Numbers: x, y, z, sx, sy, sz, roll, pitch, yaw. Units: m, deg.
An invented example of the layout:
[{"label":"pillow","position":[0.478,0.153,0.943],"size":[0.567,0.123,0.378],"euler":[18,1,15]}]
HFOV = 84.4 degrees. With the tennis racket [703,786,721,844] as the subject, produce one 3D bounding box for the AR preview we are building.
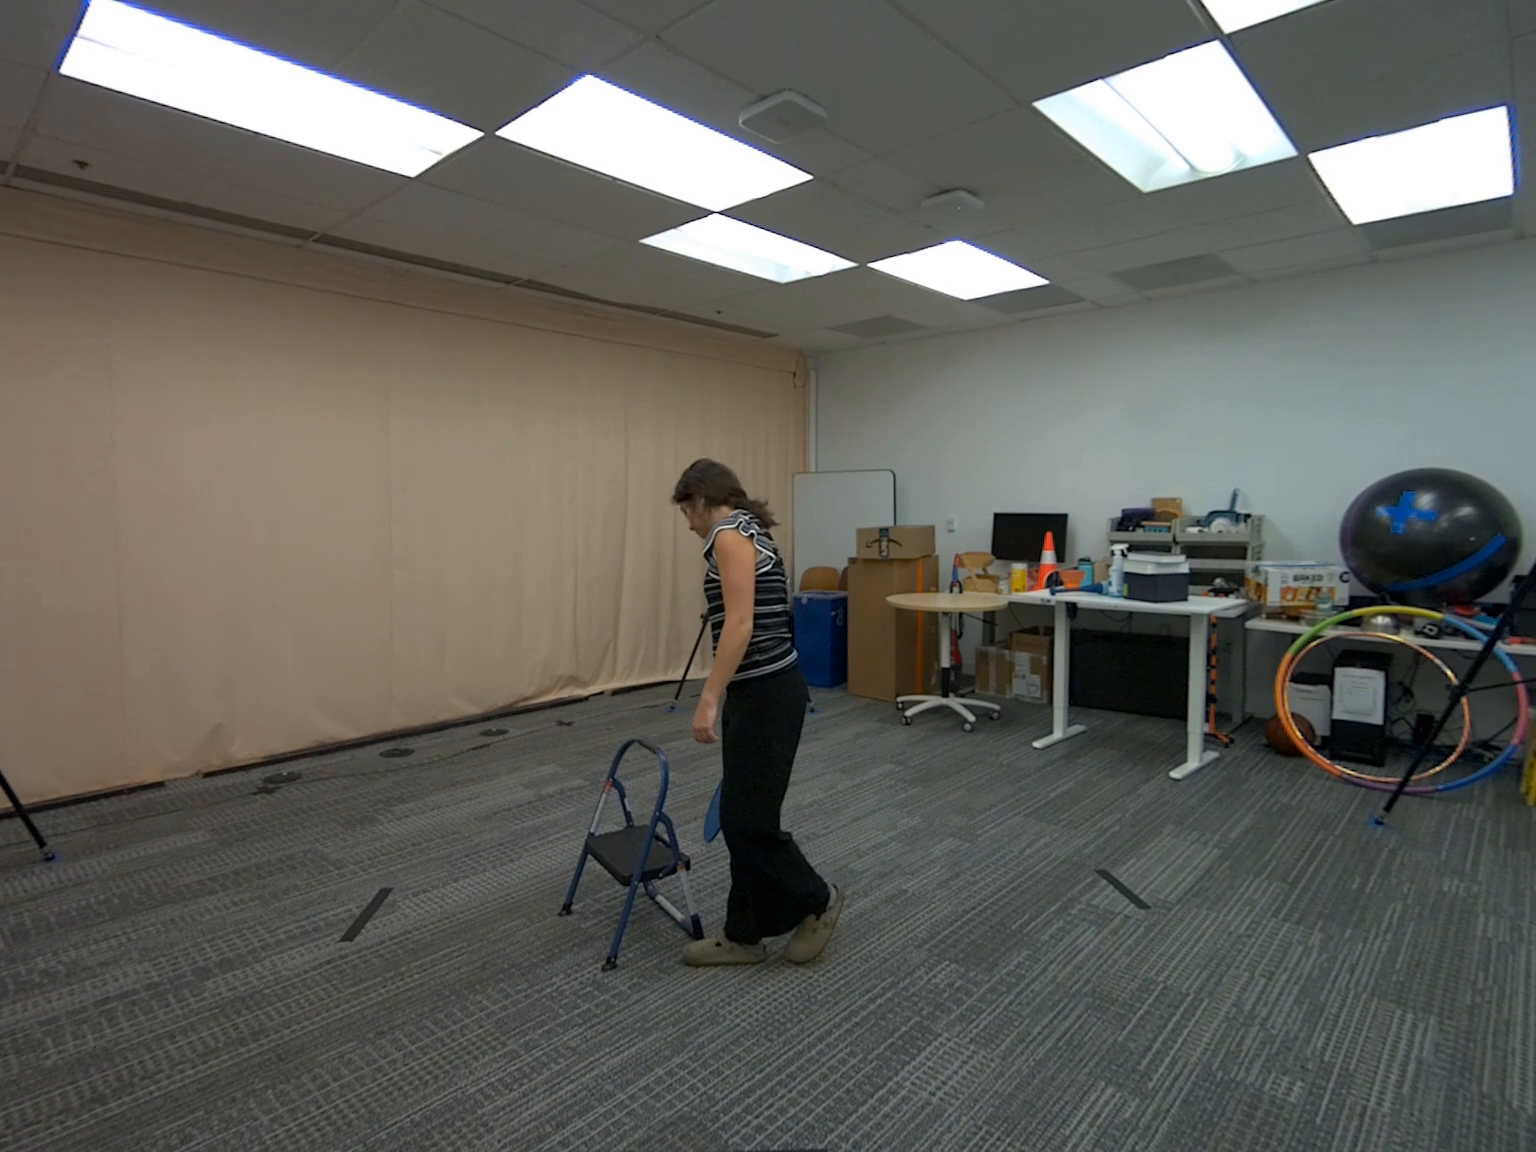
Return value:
[{"label":"tennis racket","position":[-0.122,0.692,2.839],"size":[0.031,0.433,0.217],"euler":[21,1,-17]}]
